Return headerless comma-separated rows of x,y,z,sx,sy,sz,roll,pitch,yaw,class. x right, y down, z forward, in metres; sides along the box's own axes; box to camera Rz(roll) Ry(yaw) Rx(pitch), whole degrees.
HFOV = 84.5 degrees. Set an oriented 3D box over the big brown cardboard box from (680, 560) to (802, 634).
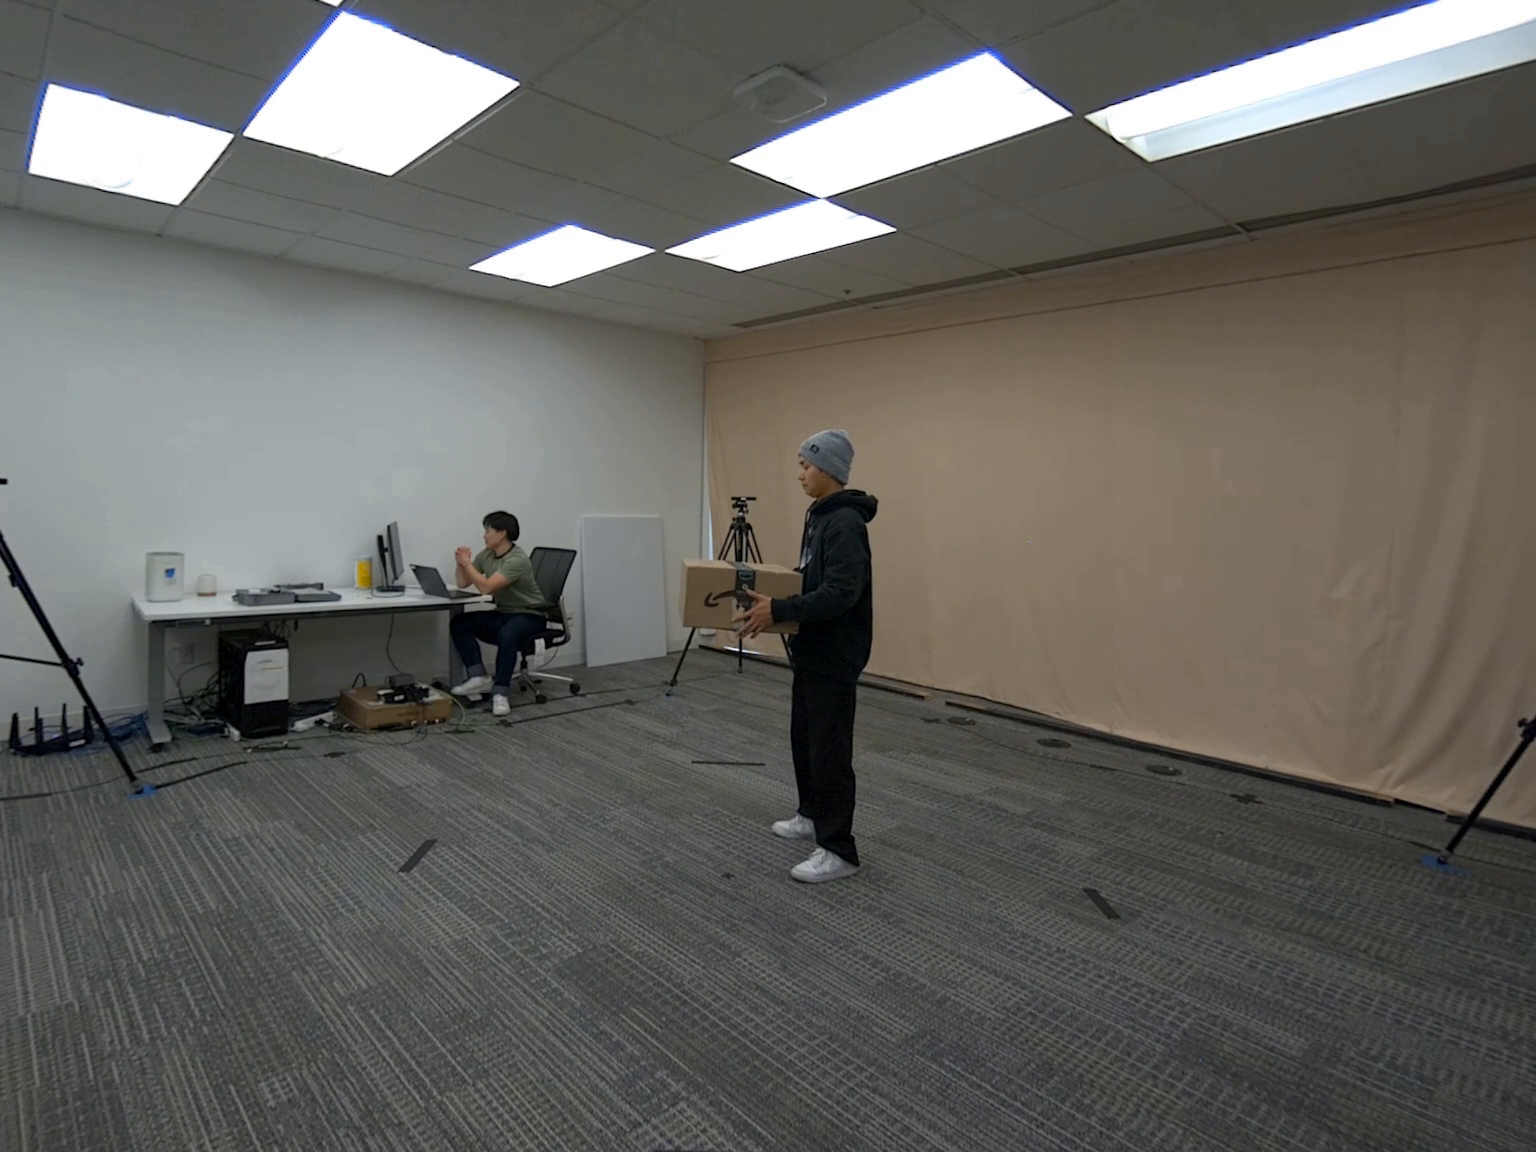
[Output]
-0.124,0.069,3.237,0.416,0.233,0.591,4,2,-4,big brown cardboard box
